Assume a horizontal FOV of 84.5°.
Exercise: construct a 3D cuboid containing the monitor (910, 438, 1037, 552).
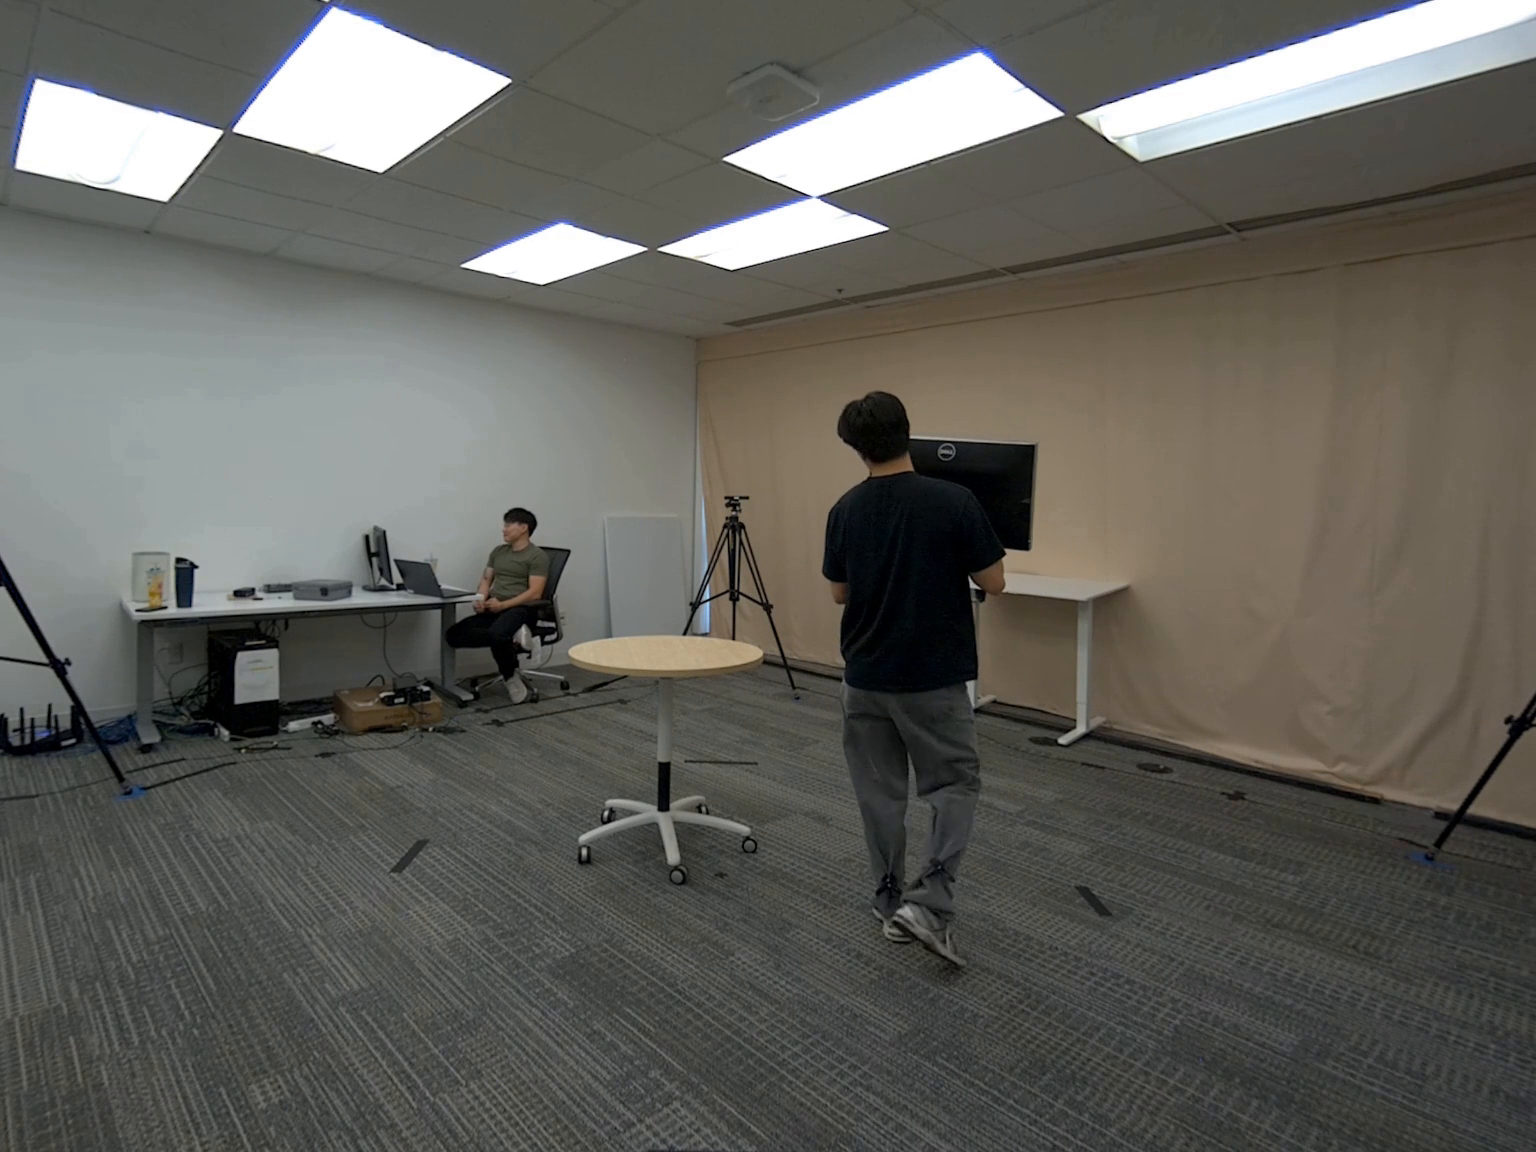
[{"bbox_3d":[0.586,-0.175,2.830,0.575,0.564,0.217,9,5,30],"label":"monitor"}]
